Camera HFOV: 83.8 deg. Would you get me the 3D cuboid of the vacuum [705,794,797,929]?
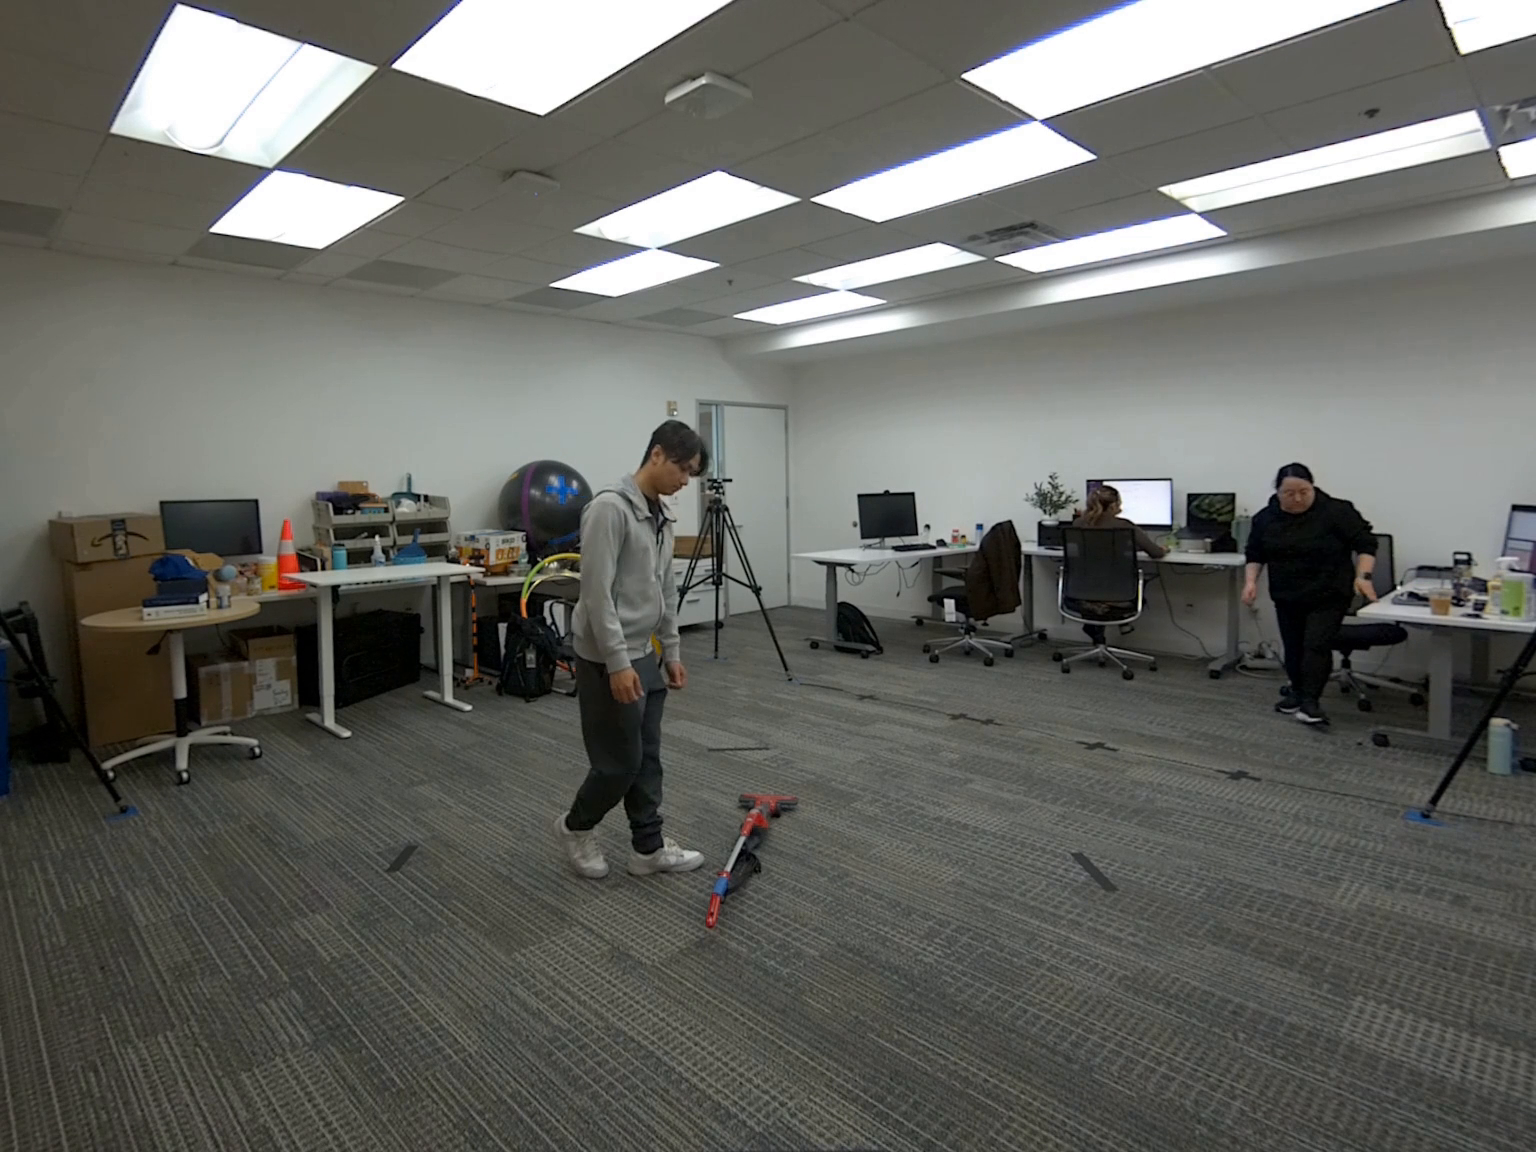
[{"bbox_3d":[-0.090,0.994,3.059,0.255,0.143,1.041,6,5,8],"label":"vacuum"}]
